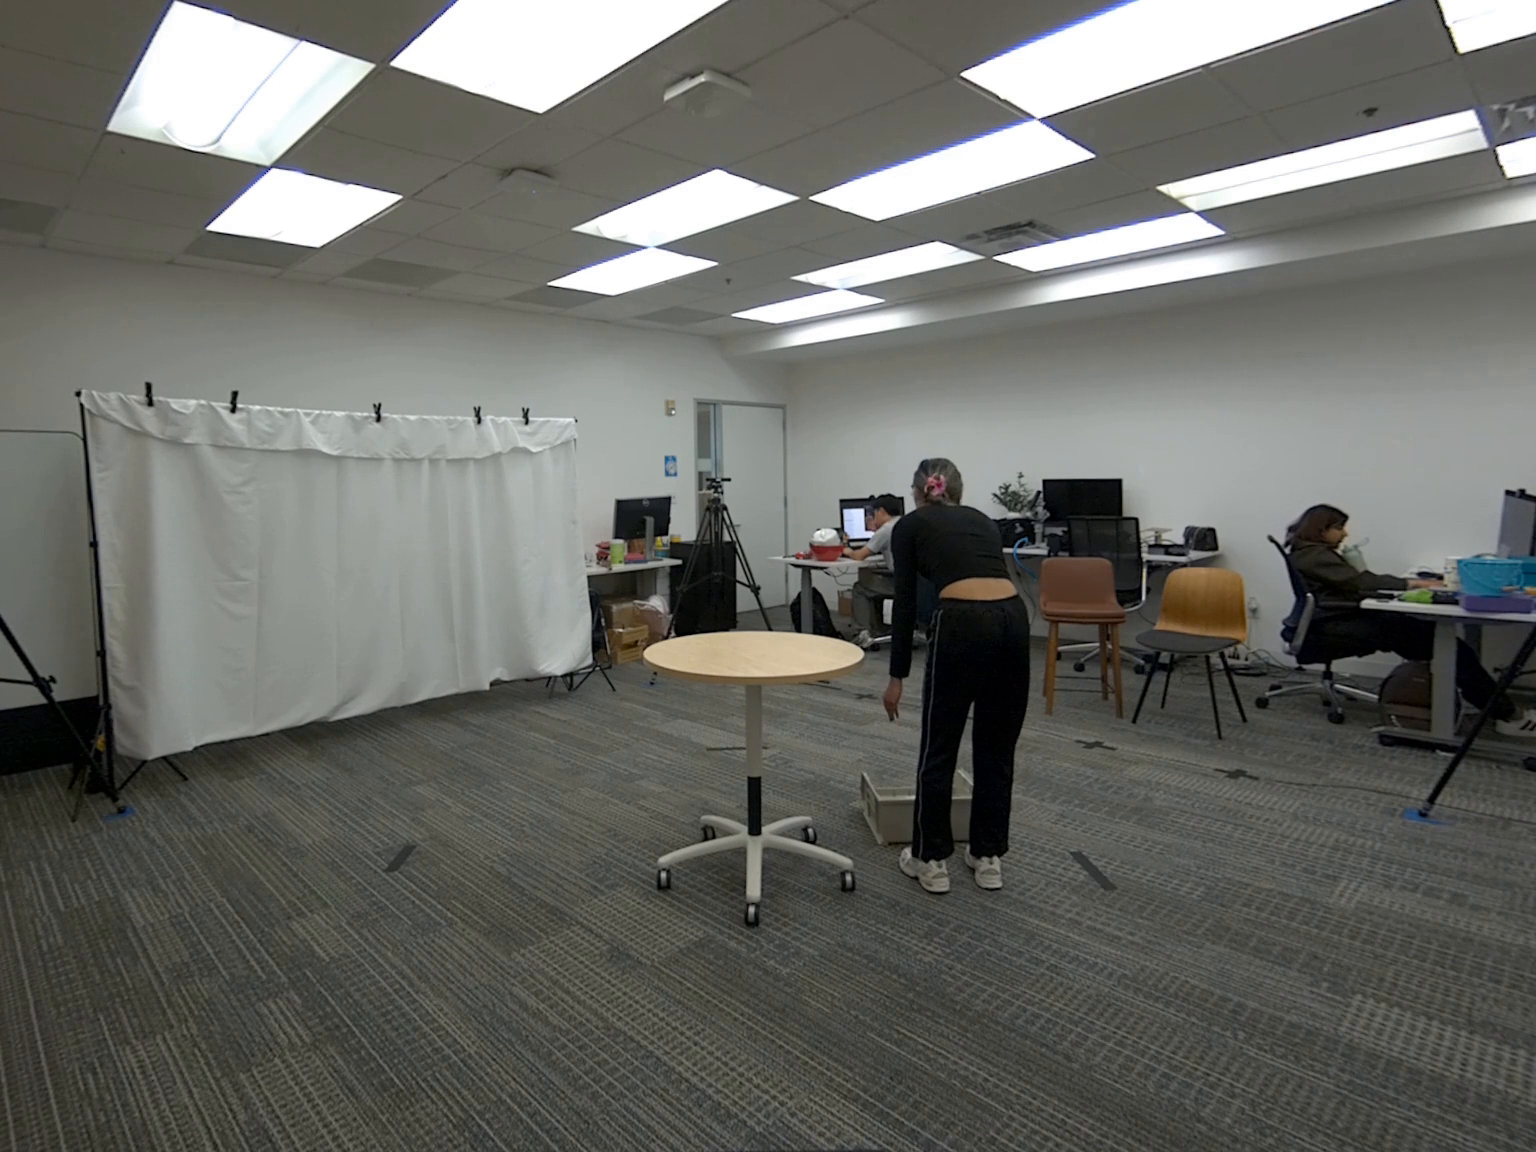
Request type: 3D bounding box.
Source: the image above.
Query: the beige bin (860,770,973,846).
[{"bbox_3d":[0.613,0.911,3.412,0.421,0.188,0.380,-1,6,-3],"label":"beige bin"}]
